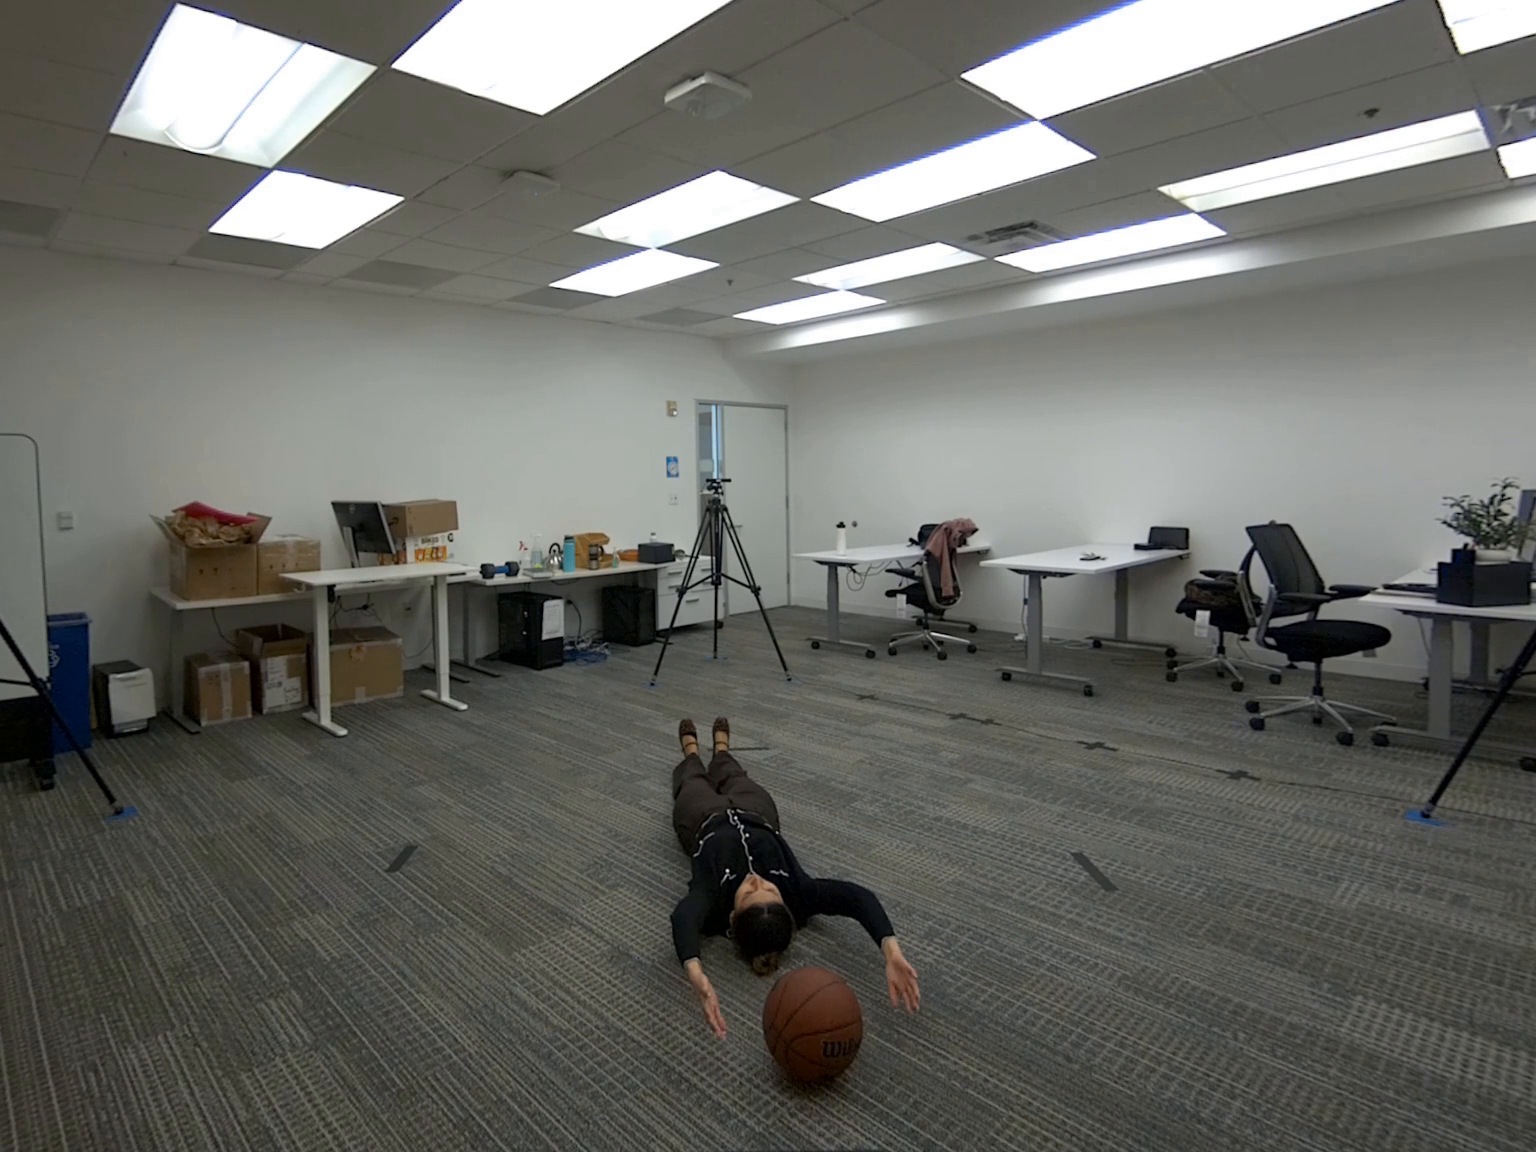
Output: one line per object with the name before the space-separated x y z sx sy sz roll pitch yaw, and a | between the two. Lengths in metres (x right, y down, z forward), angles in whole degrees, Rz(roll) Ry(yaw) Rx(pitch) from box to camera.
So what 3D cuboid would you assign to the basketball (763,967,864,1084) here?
basketball | 0.114 1.051 2.014 0.236 0.235 0.237 -1 5 -2
